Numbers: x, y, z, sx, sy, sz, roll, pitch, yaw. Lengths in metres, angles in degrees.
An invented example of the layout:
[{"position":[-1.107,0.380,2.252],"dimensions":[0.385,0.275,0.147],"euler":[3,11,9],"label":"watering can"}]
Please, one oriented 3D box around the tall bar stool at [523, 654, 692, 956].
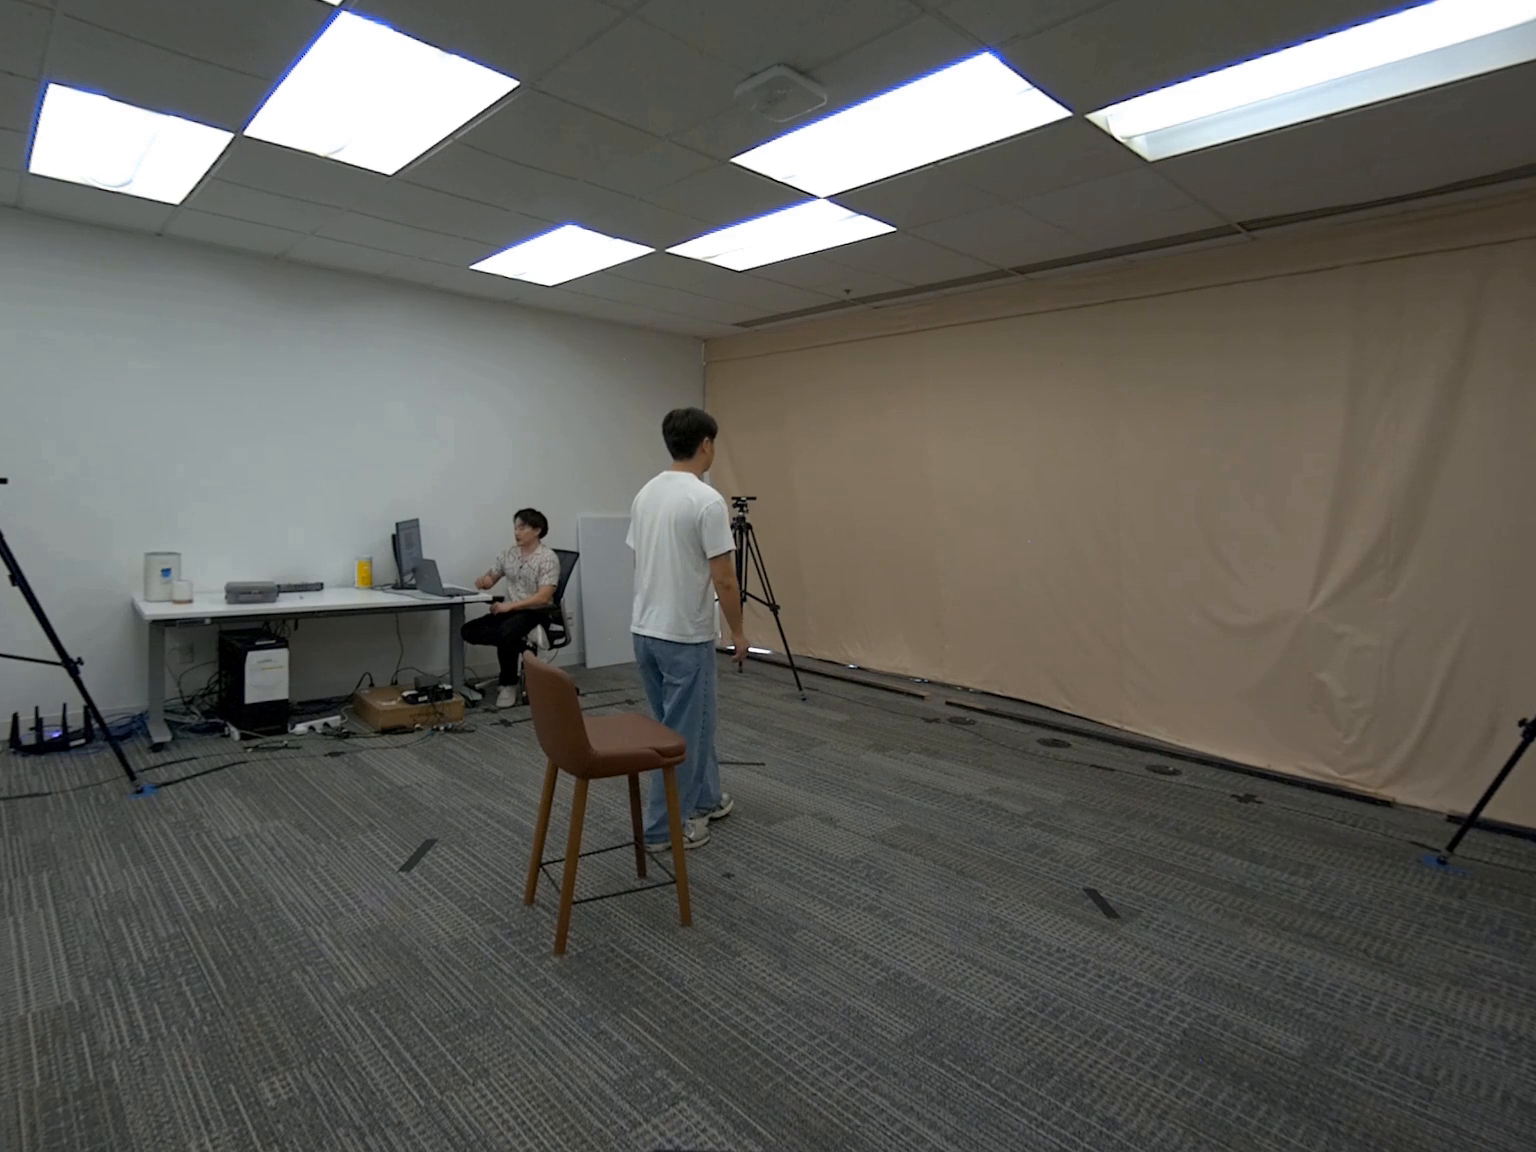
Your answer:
[{"position":[-0.544,0.689,2.777],"dimensions":[0.458,0.887,0.467],"euler":[-3,5,-31],"label":"tall bar stool"}]
